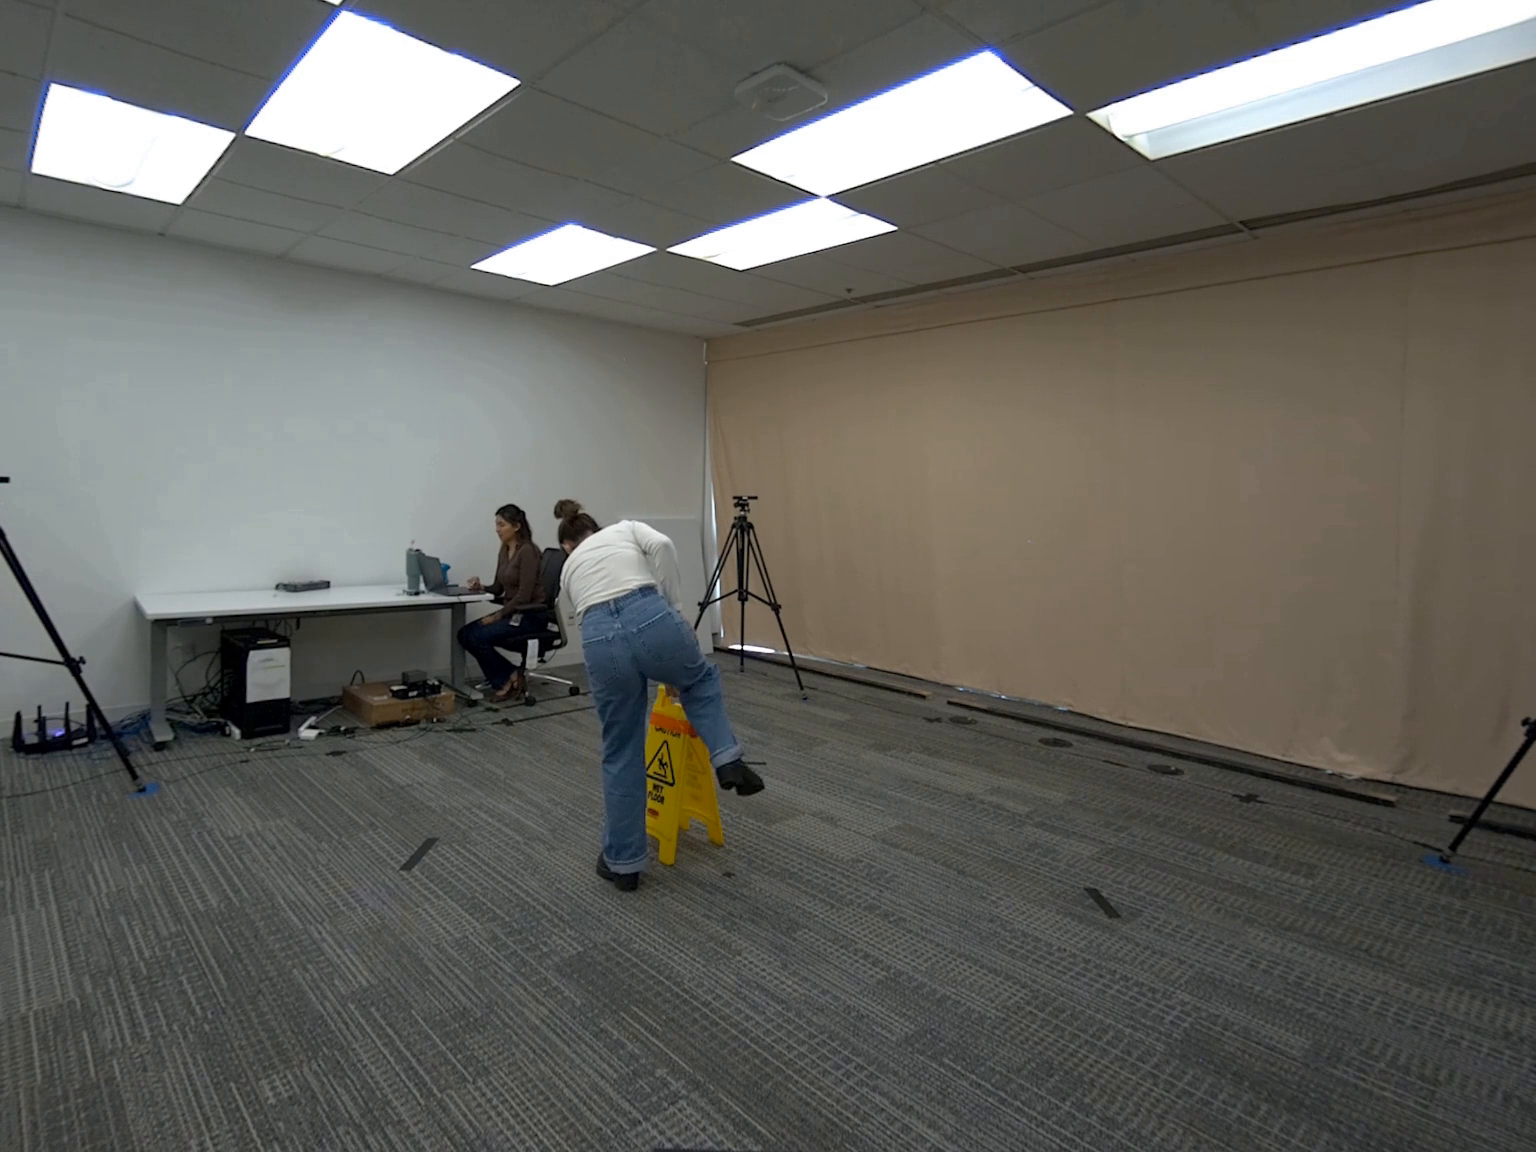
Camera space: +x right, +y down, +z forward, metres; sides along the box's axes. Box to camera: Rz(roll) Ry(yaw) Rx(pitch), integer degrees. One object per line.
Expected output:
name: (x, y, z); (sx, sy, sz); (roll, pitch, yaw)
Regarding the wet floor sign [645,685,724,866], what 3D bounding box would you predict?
wet floor sign: (-0.372, 0.754, 3.353); (0.289, 0.644, 0.283); (5, 4, 43)
